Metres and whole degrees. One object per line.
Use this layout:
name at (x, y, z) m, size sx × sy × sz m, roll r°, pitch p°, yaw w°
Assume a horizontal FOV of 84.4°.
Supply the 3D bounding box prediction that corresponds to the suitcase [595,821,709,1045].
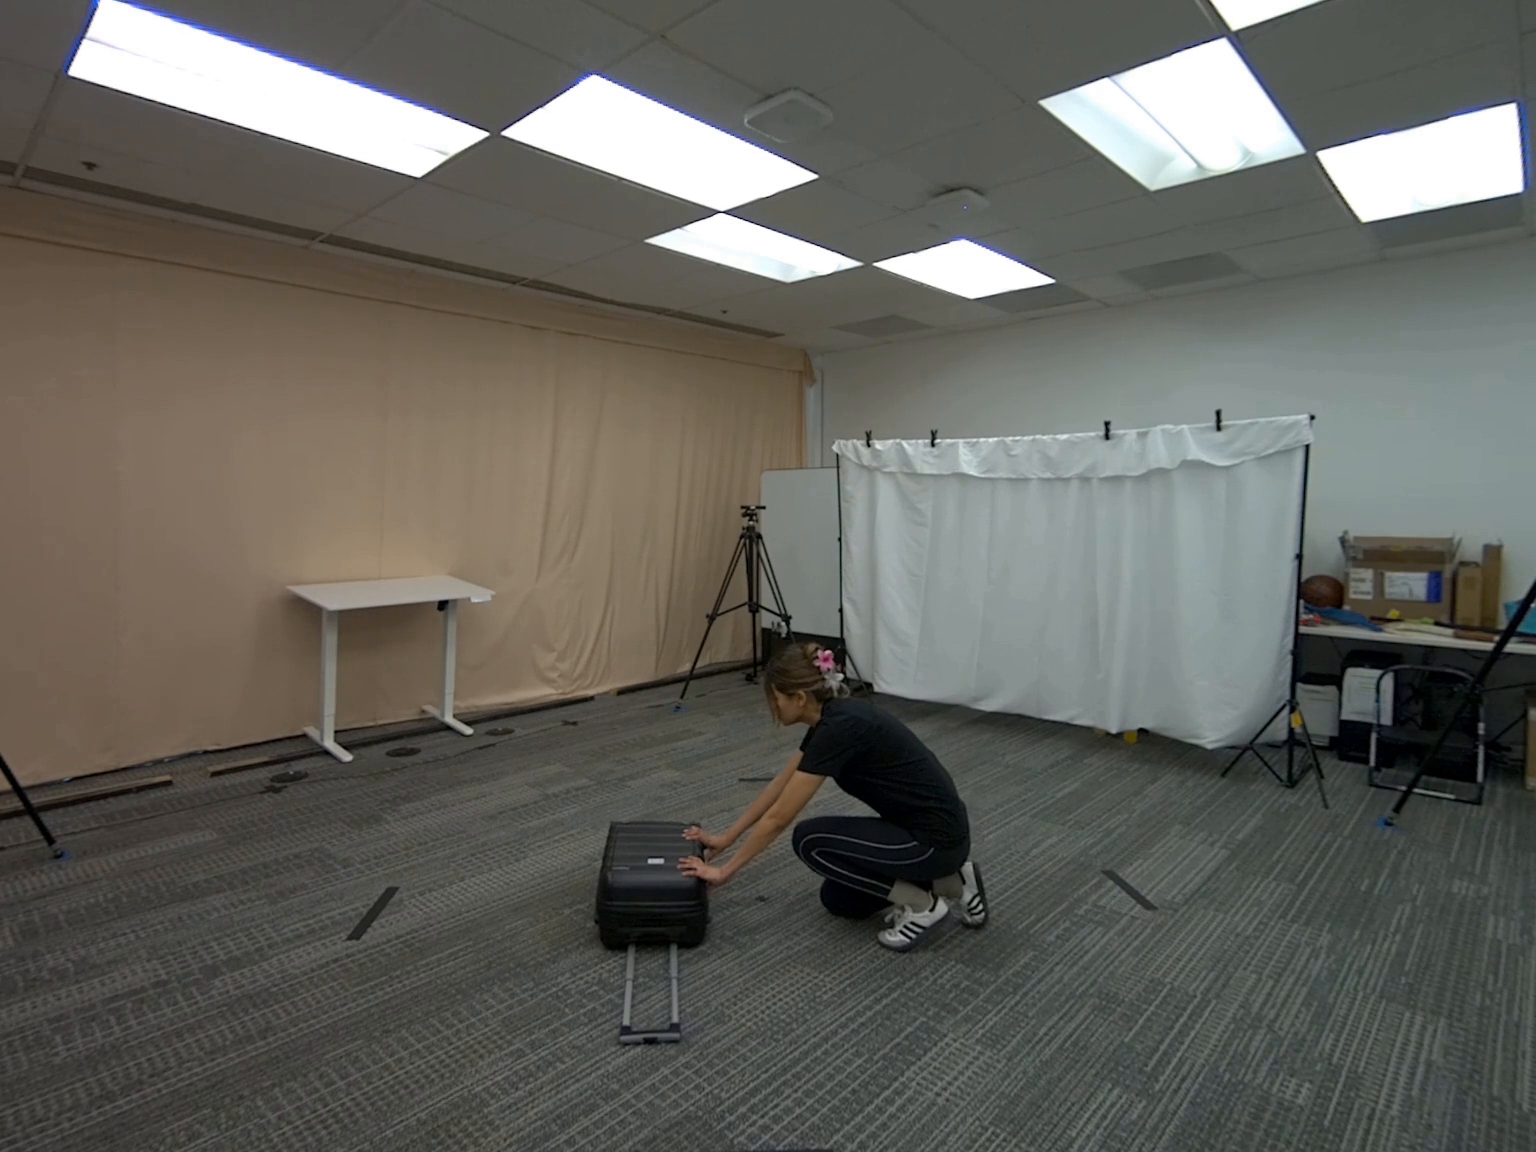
suitcase at (-0.368, 1.051, 2.667) m, size 0.382 × 0.257 × 0.984 m, roll 1°, pitch 3°, yaw -5°
